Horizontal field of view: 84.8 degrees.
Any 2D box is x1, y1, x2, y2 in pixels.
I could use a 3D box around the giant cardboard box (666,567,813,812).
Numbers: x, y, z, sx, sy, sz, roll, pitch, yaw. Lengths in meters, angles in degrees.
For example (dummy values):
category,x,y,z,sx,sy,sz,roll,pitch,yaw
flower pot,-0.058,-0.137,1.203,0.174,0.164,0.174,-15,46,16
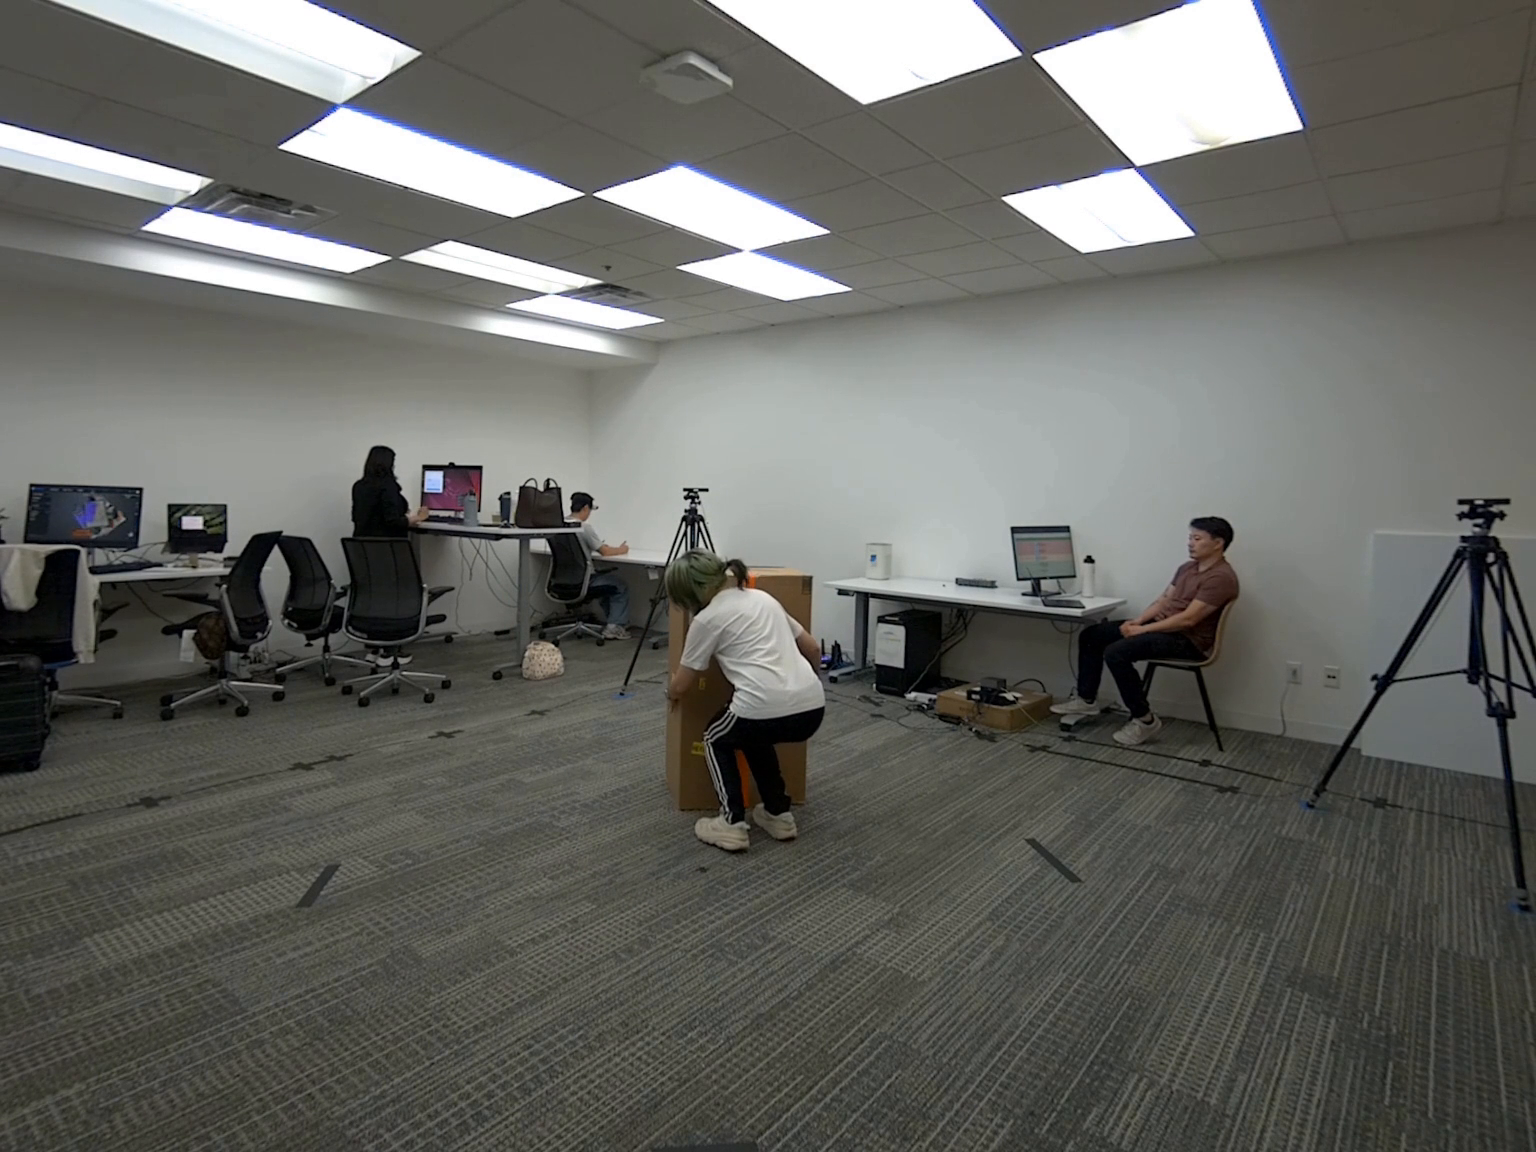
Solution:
category,x,y,z,sx,sy,sz,roll,pitch,yaw
giant cardboard box,-0.157,0.482,3.912,0.576,1.025,0.454,1,2,-13
